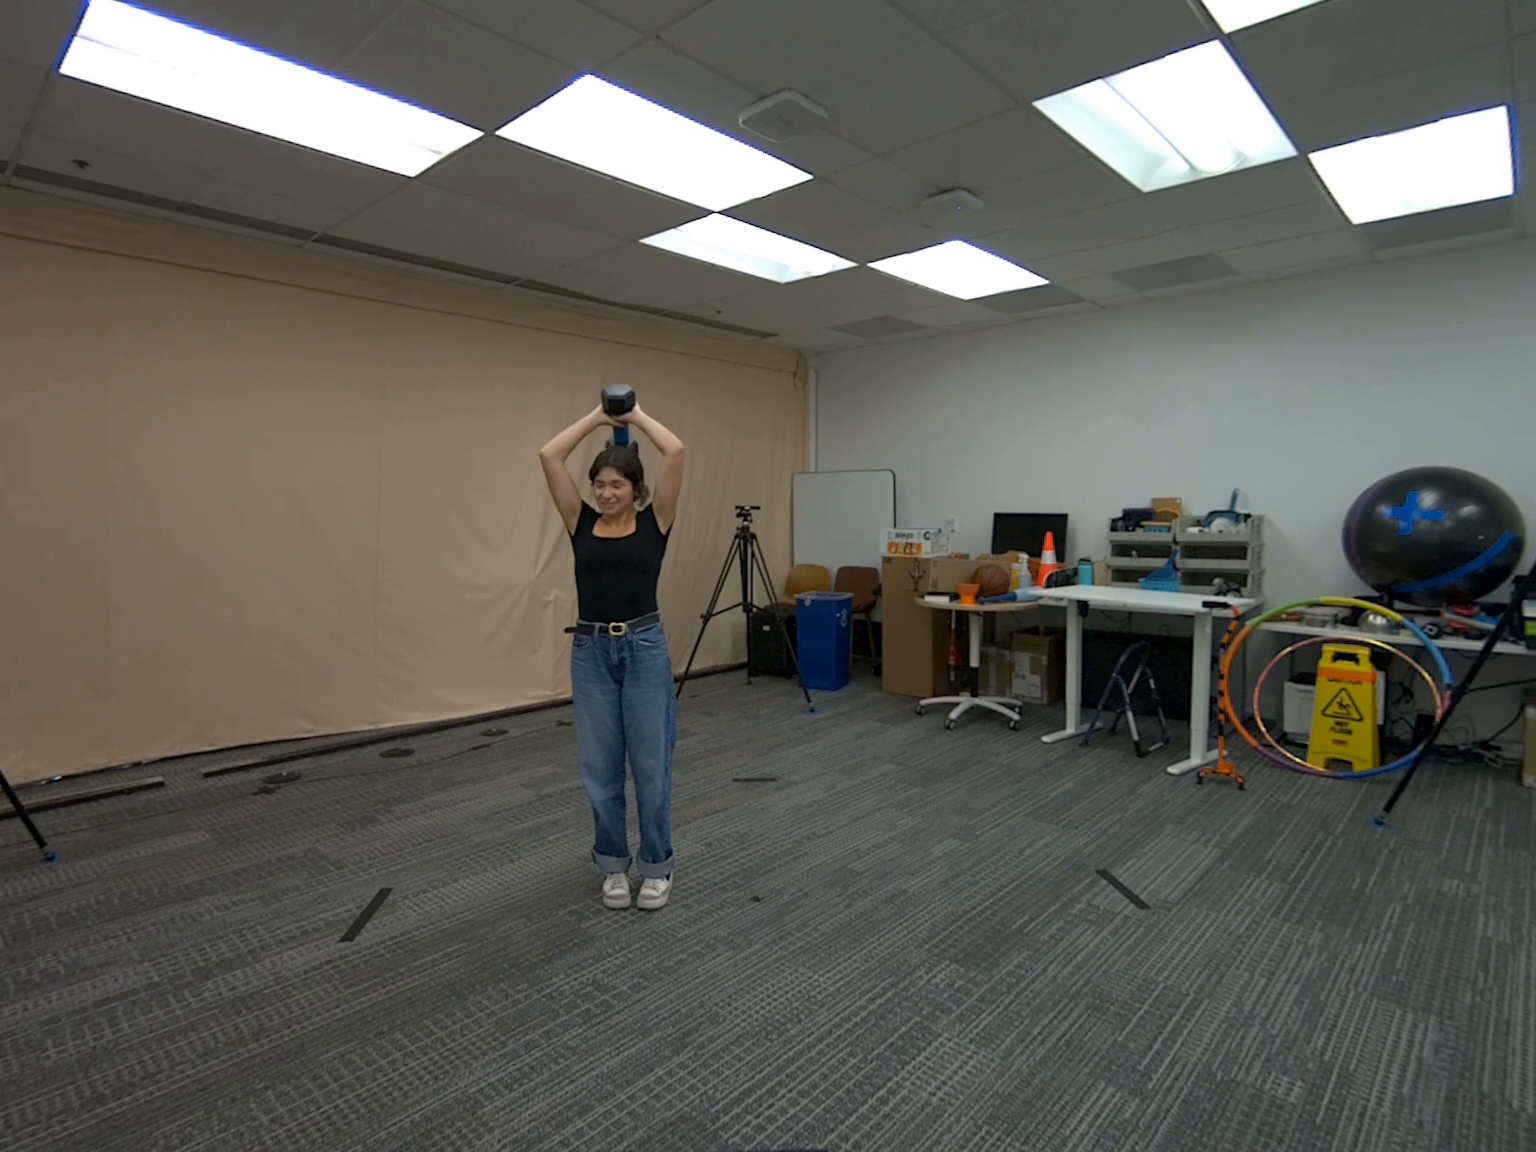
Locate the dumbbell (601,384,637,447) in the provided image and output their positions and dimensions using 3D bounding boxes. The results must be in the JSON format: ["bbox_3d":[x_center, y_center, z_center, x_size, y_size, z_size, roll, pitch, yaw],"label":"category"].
[{"bbox_3d":[-0.539,-0.552,3.086,0.112,0.288,0.121,23,43,25],"label":"dumbbell"}]
